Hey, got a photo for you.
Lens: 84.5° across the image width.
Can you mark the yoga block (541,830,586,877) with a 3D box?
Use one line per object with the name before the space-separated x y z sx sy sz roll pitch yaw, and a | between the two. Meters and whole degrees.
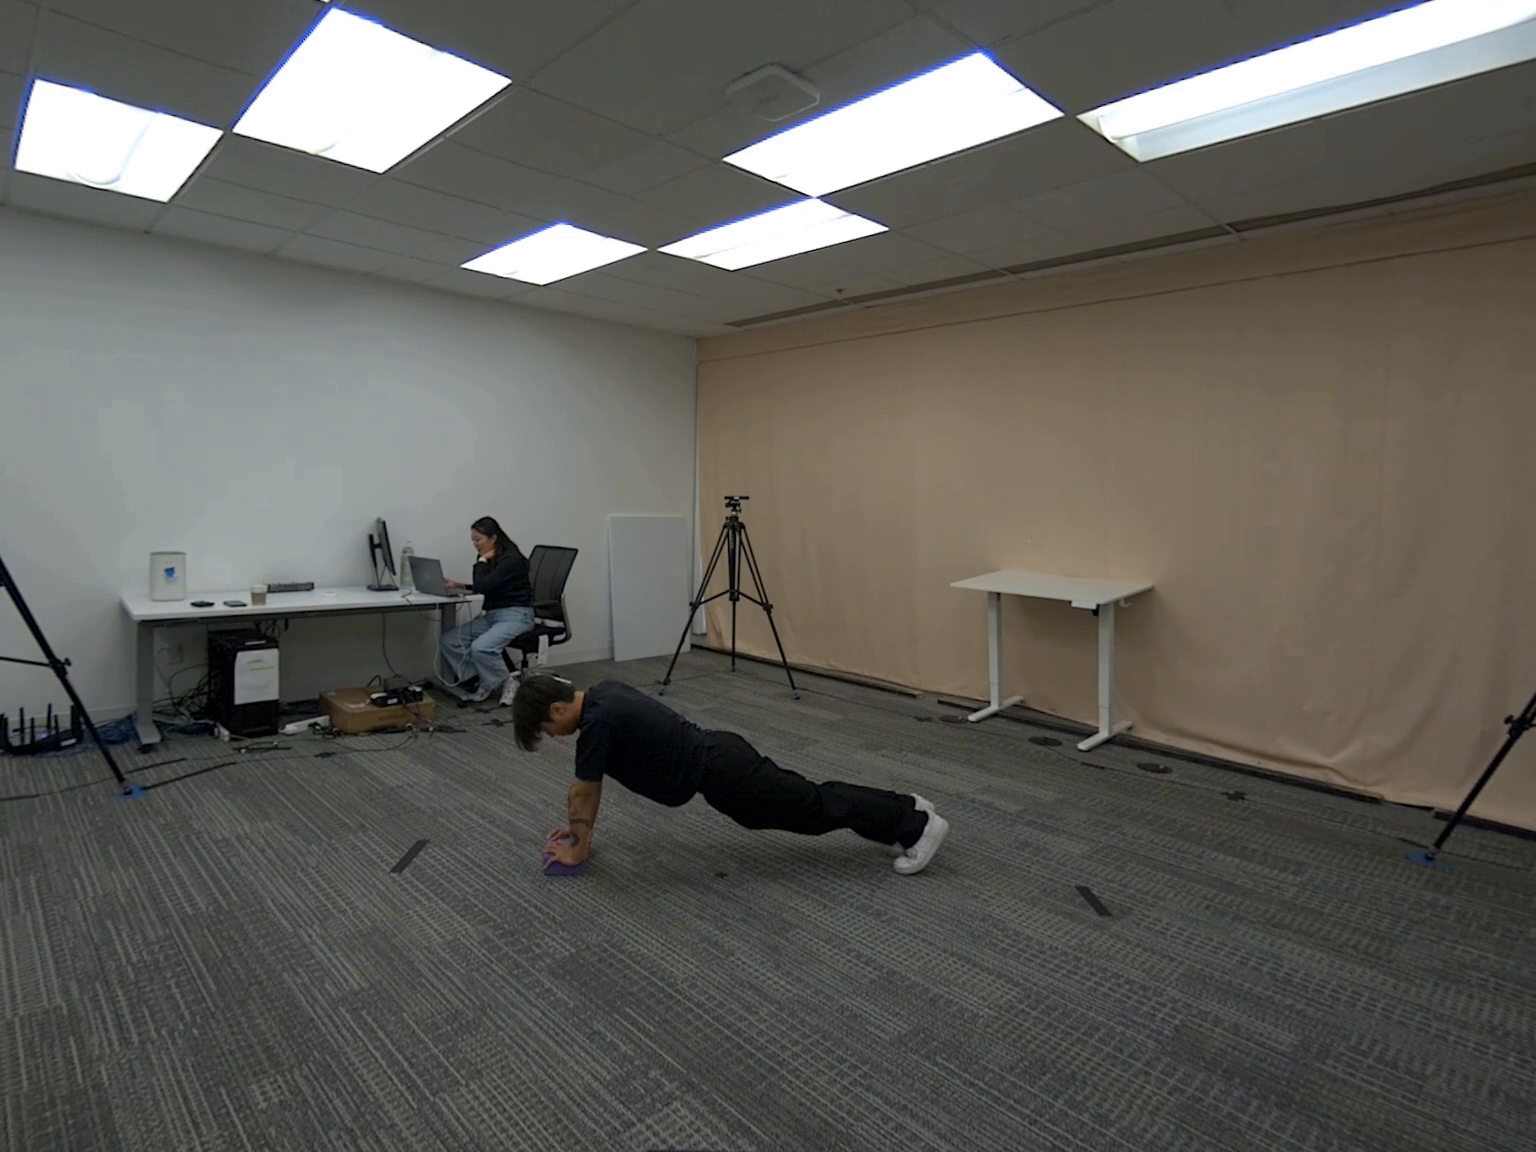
yoga block | -0.762 1.042 3.179 0.148 0.076 0.231 1 6 -7
